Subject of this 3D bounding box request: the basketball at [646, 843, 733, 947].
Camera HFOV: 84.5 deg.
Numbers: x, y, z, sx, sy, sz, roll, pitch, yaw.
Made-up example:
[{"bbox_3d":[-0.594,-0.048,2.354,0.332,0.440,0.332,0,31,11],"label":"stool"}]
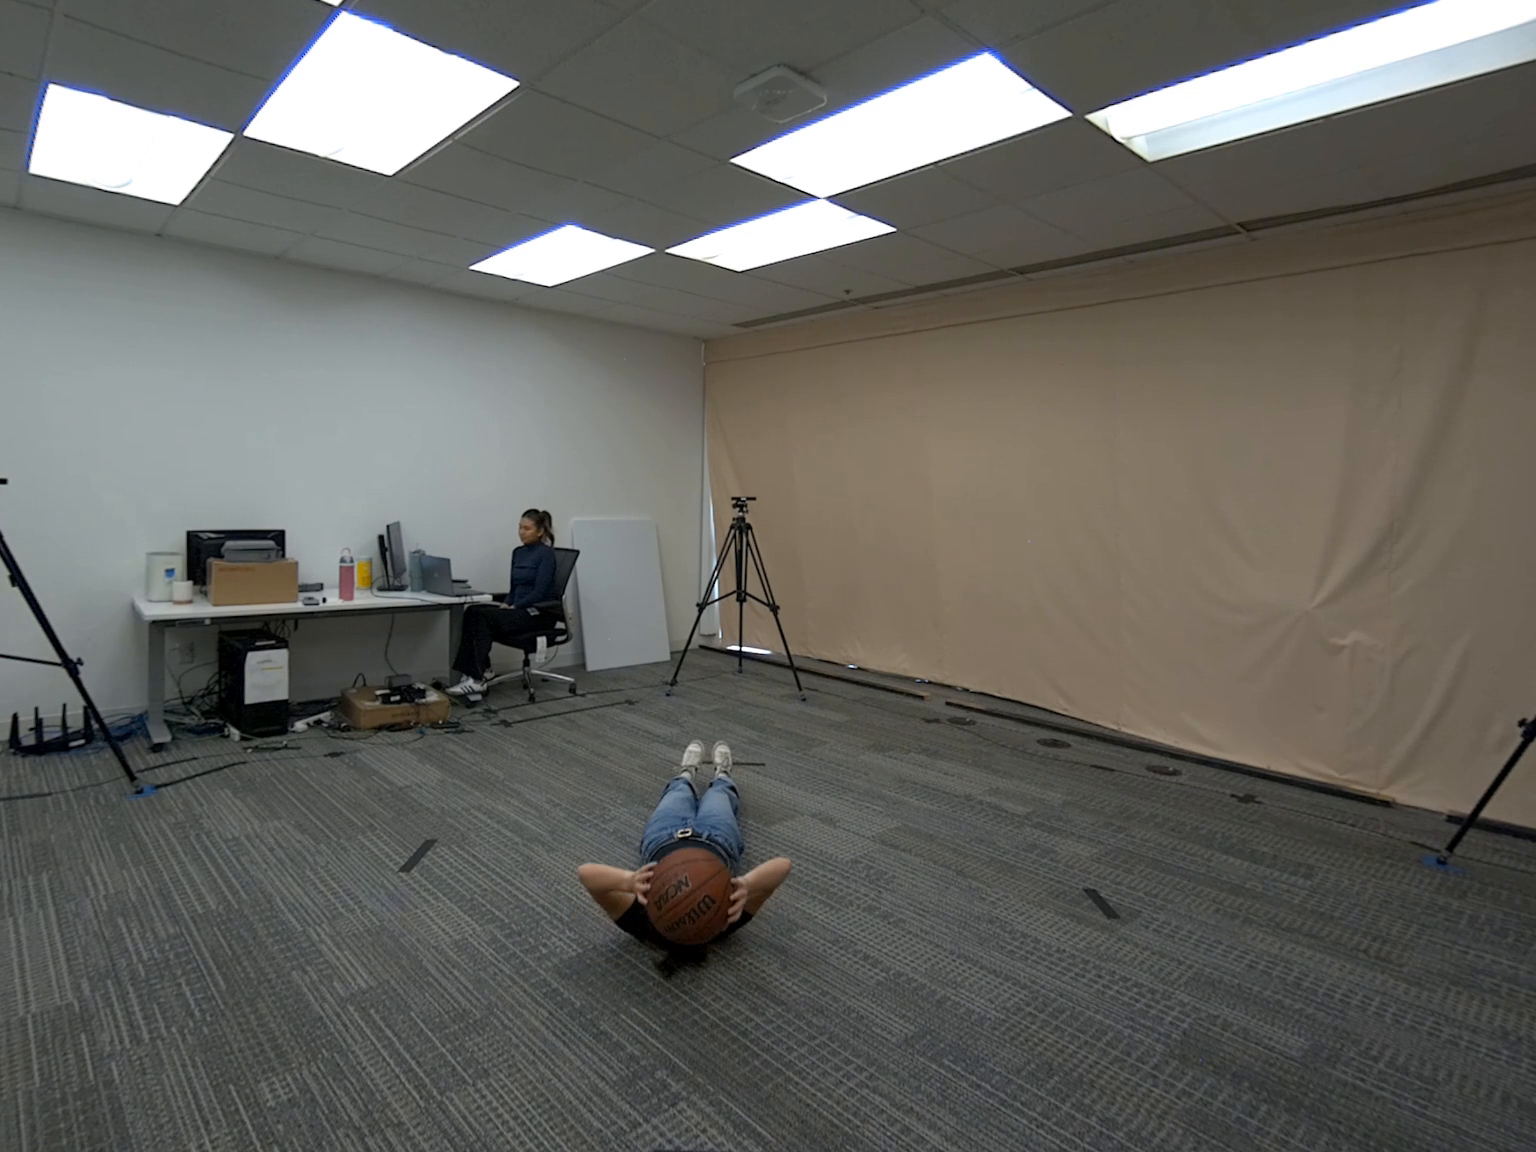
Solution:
[{"bbox_3d":[-0.212,0.851,2.230,0.236,0.235,0.237,1,4,-1],"label":"basketball"}]
